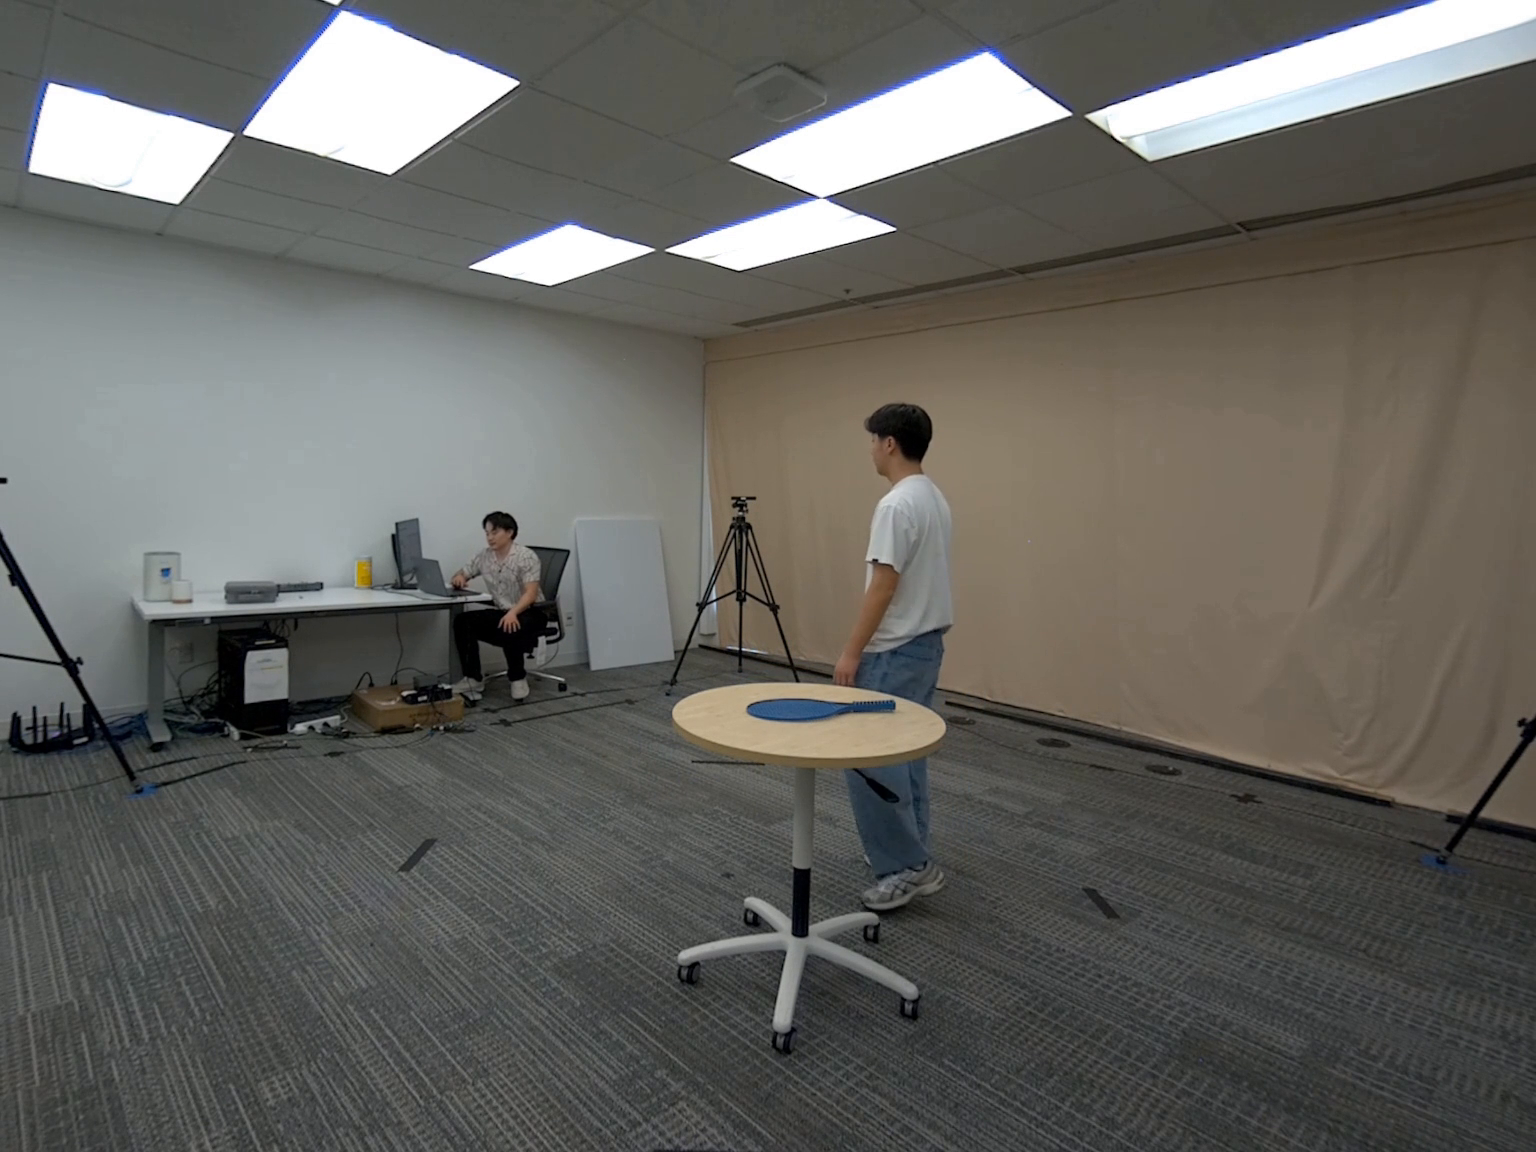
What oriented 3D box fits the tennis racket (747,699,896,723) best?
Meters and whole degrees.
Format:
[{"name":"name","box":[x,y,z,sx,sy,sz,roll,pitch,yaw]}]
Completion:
[{"name":"tennis racket","box":[0.156,0.386,2.419,0.430,0.031,0.216,-1,6,-7]}]
